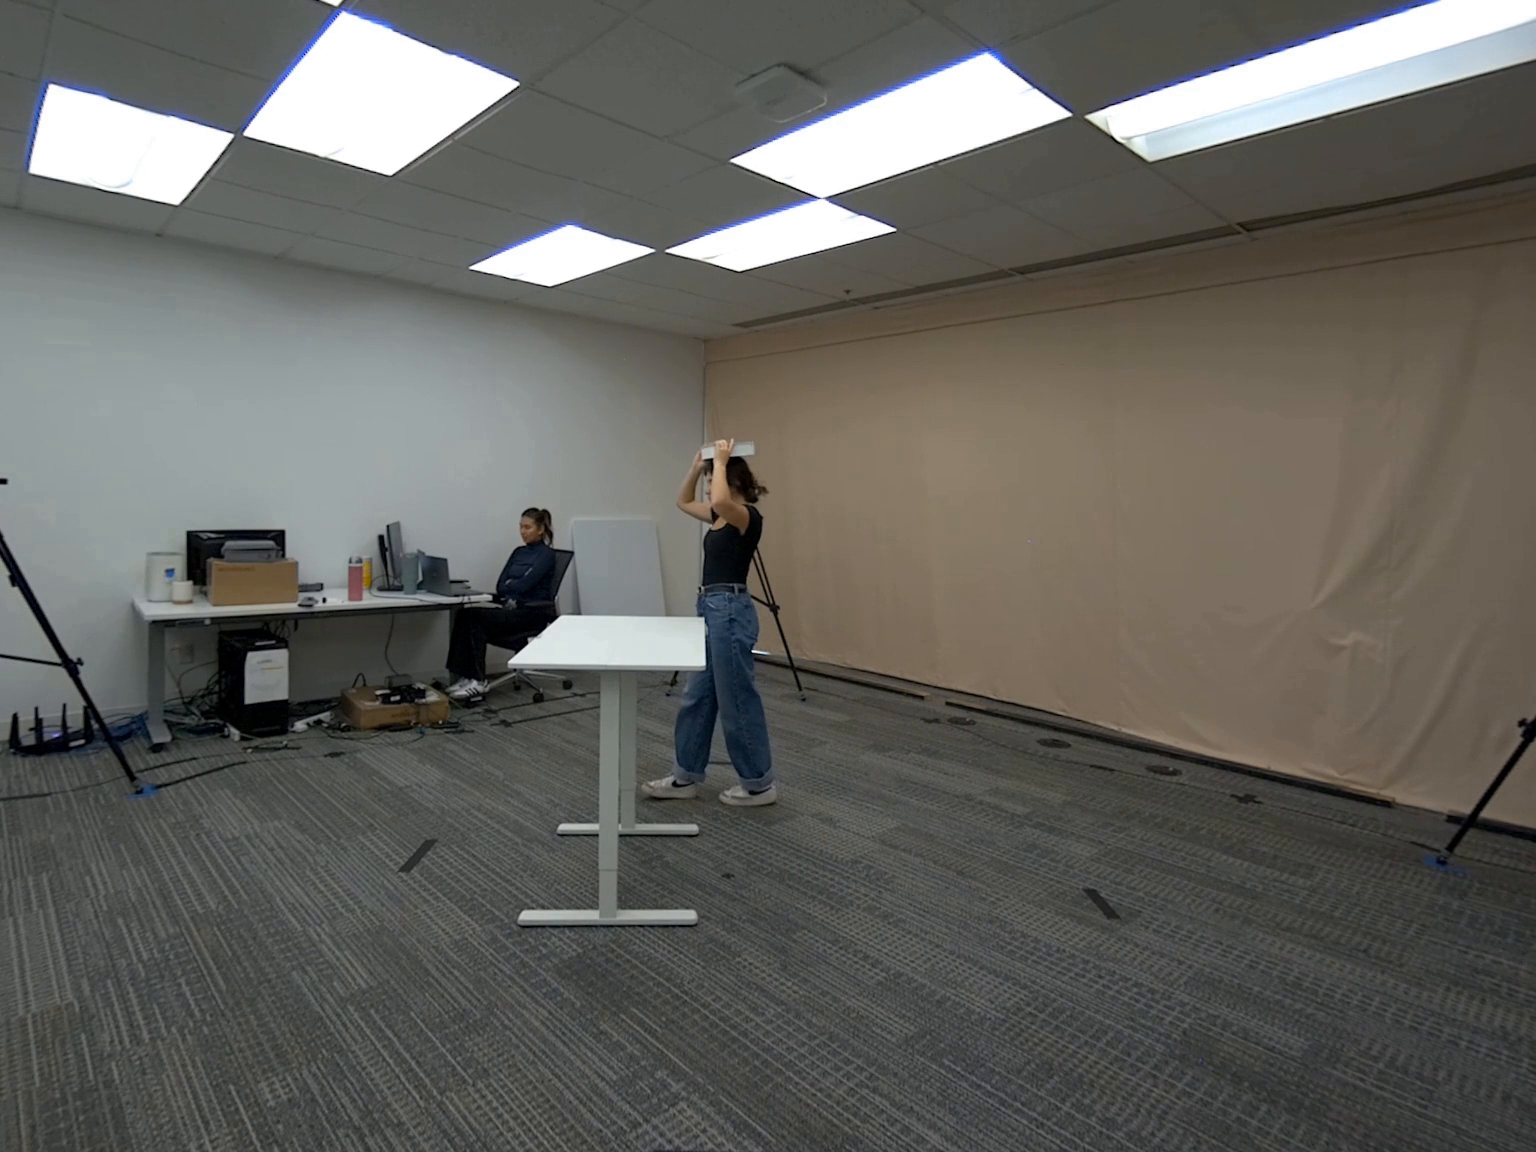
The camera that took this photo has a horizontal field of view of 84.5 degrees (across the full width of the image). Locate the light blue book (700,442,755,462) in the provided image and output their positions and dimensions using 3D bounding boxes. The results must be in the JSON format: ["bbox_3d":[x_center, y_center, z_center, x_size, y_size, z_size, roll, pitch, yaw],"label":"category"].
[{"bbox_3d":[-0.198,-0.570,3.815,0.189,0.059,0.265,-4,6,-16],"label":"light blue book"}]
